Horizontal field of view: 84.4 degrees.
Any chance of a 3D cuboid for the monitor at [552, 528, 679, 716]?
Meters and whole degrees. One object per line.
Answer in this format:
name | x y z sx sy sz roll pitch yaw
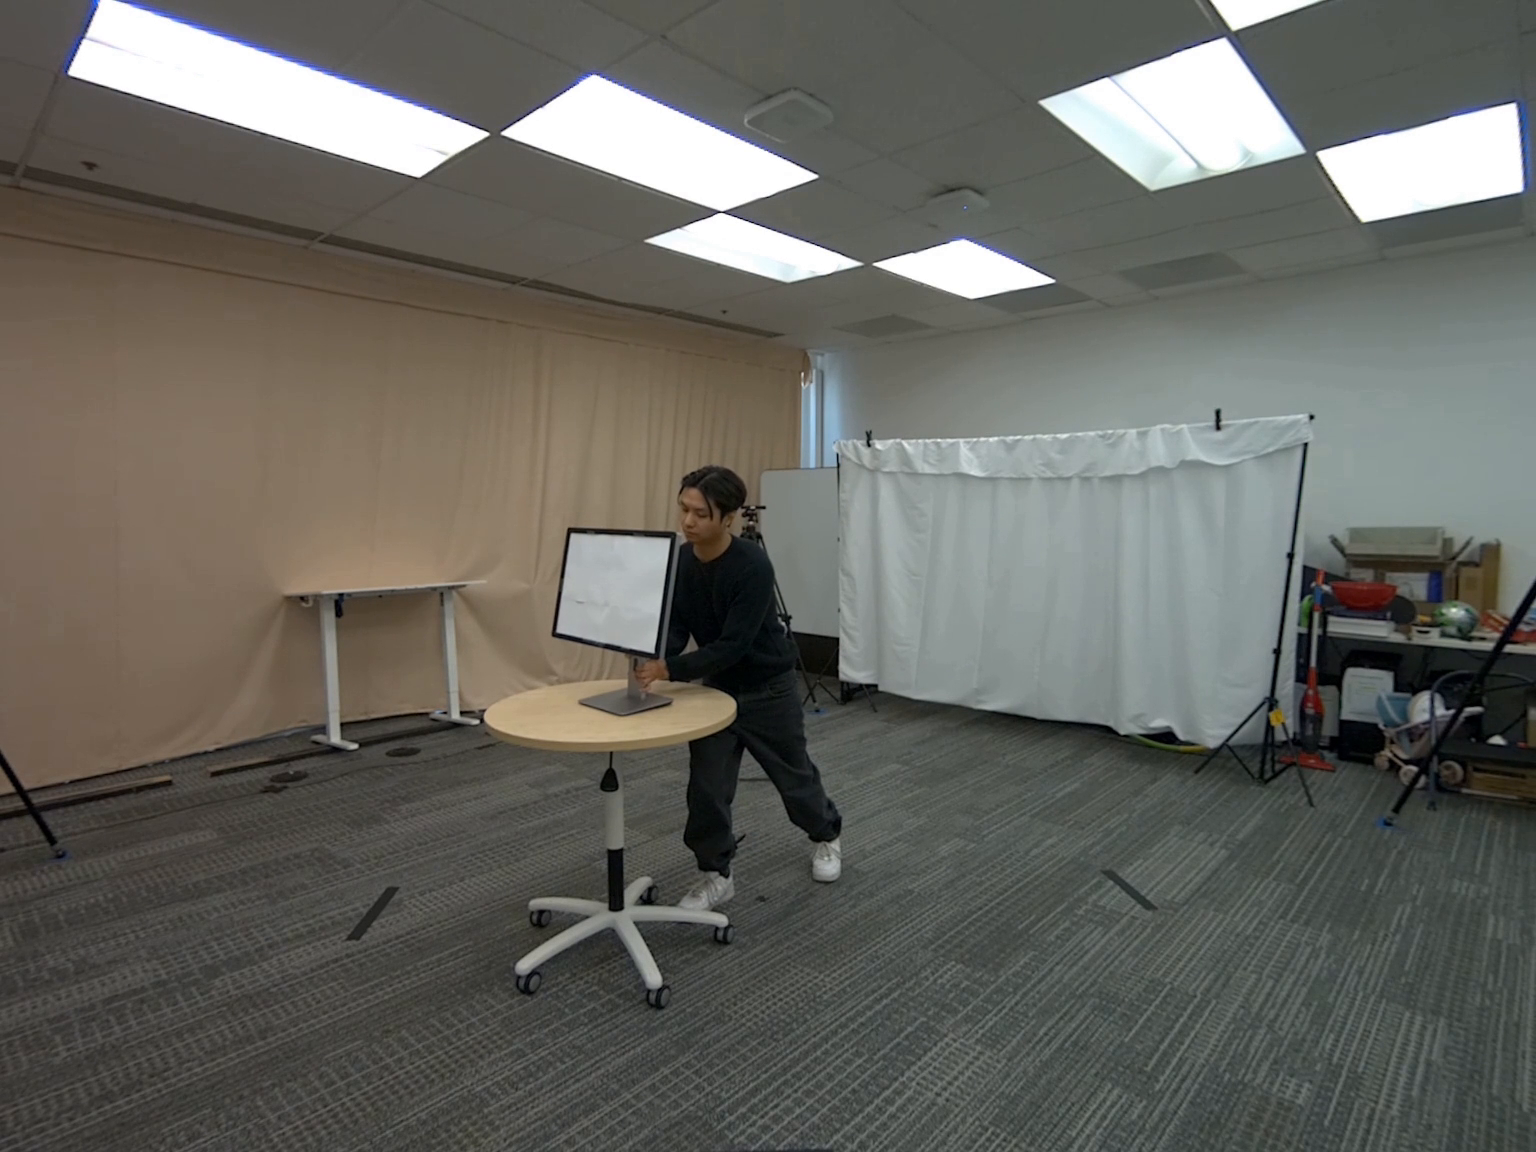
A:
monitor | -0.452 0.126 2.597 0.548 0.513 0.170 6 12 44
